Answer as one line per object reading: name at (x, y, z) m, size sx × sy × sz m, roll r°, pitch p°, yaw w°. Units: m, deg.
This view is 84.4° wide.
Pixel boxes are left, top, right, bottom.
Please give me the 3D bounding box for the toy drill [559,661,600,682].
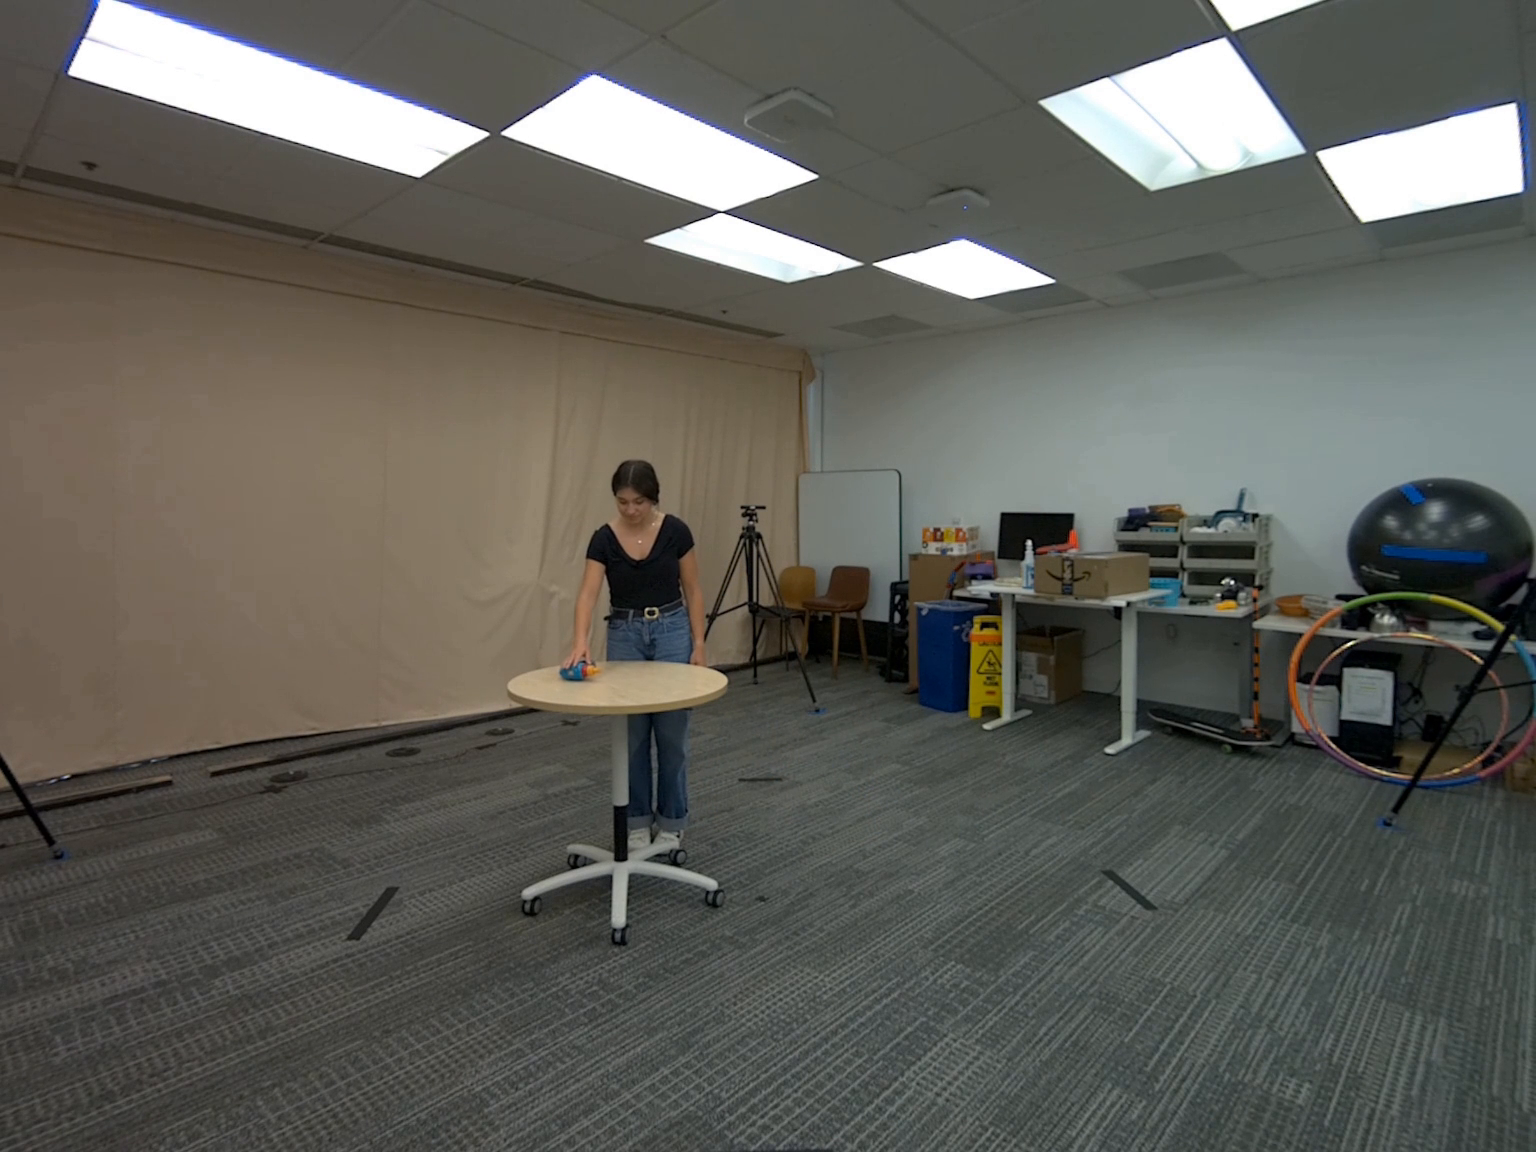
toy drill at (-0.651, 0.334, 3.001) m, size 0.172 × 0.061 × 0.144 m, roll -8°, pitch 1°, yaw 14°
